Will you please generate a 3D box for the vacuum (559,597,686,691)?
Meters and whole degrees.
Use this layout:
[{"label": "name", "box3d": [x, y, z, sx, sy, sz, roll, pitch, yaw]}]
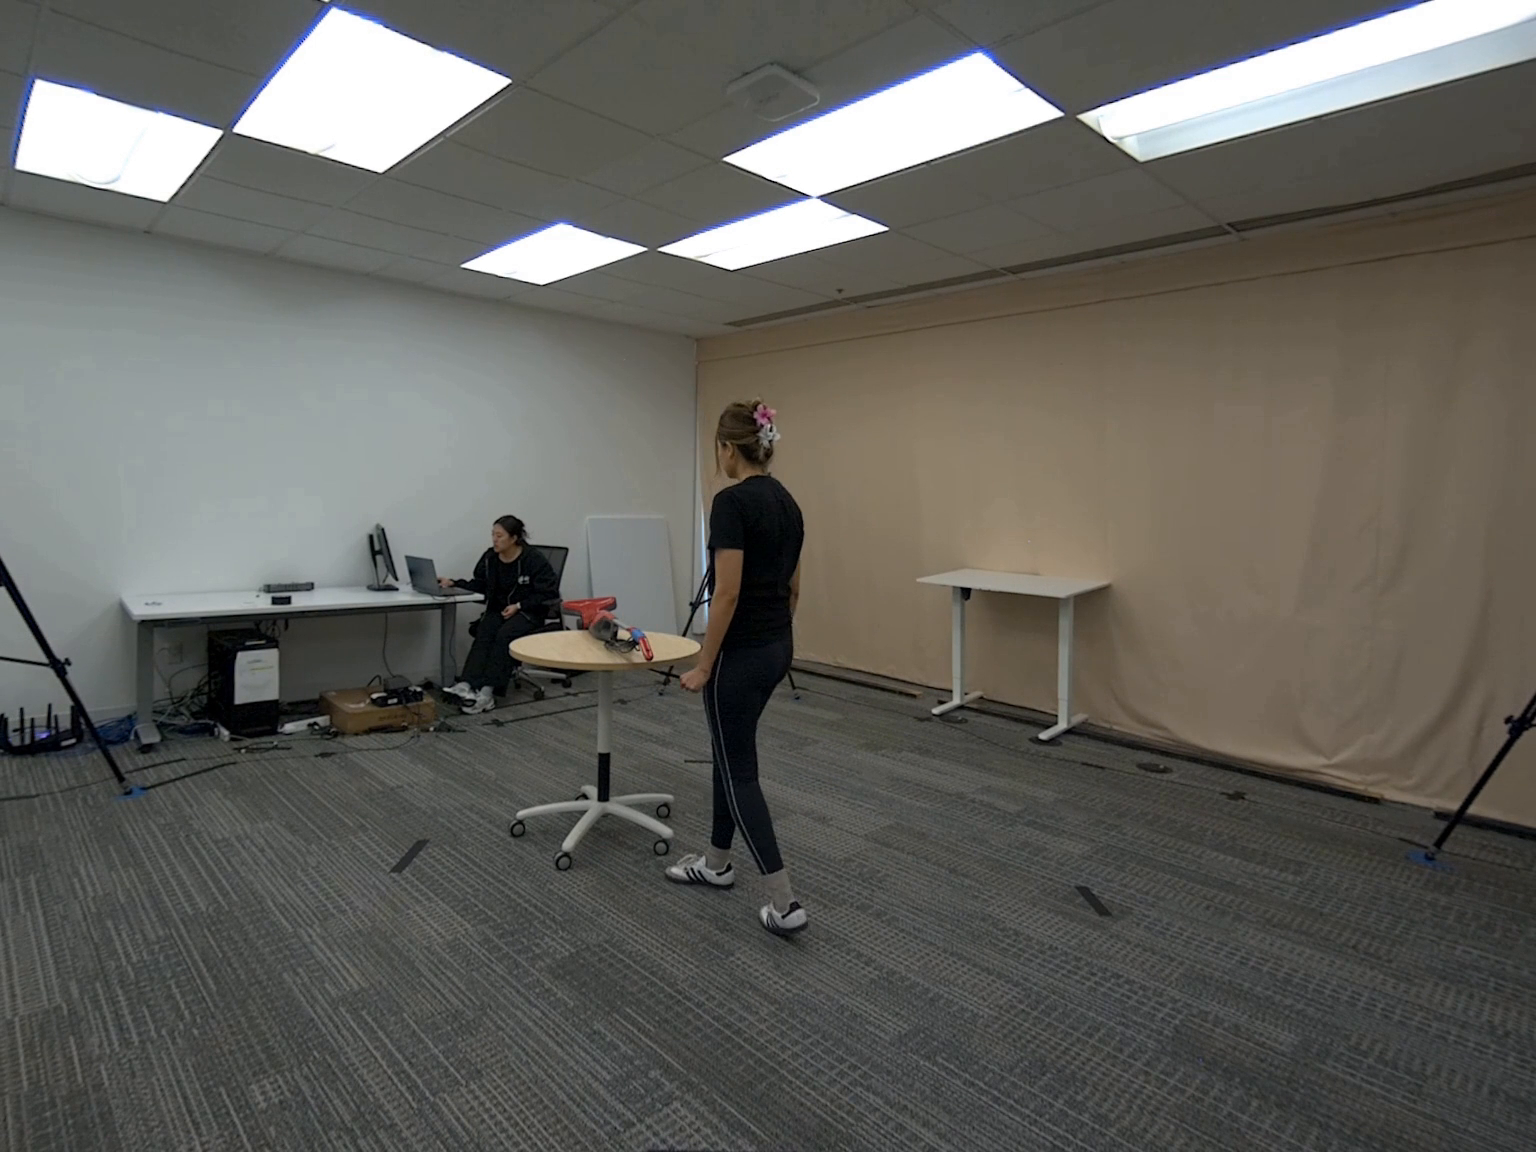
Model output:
[{"label": "vacuum", "box3d": [-0.609, 0.236, 3.340, 0.249, 0.143, 1.070, -5, 8, -22]}]
